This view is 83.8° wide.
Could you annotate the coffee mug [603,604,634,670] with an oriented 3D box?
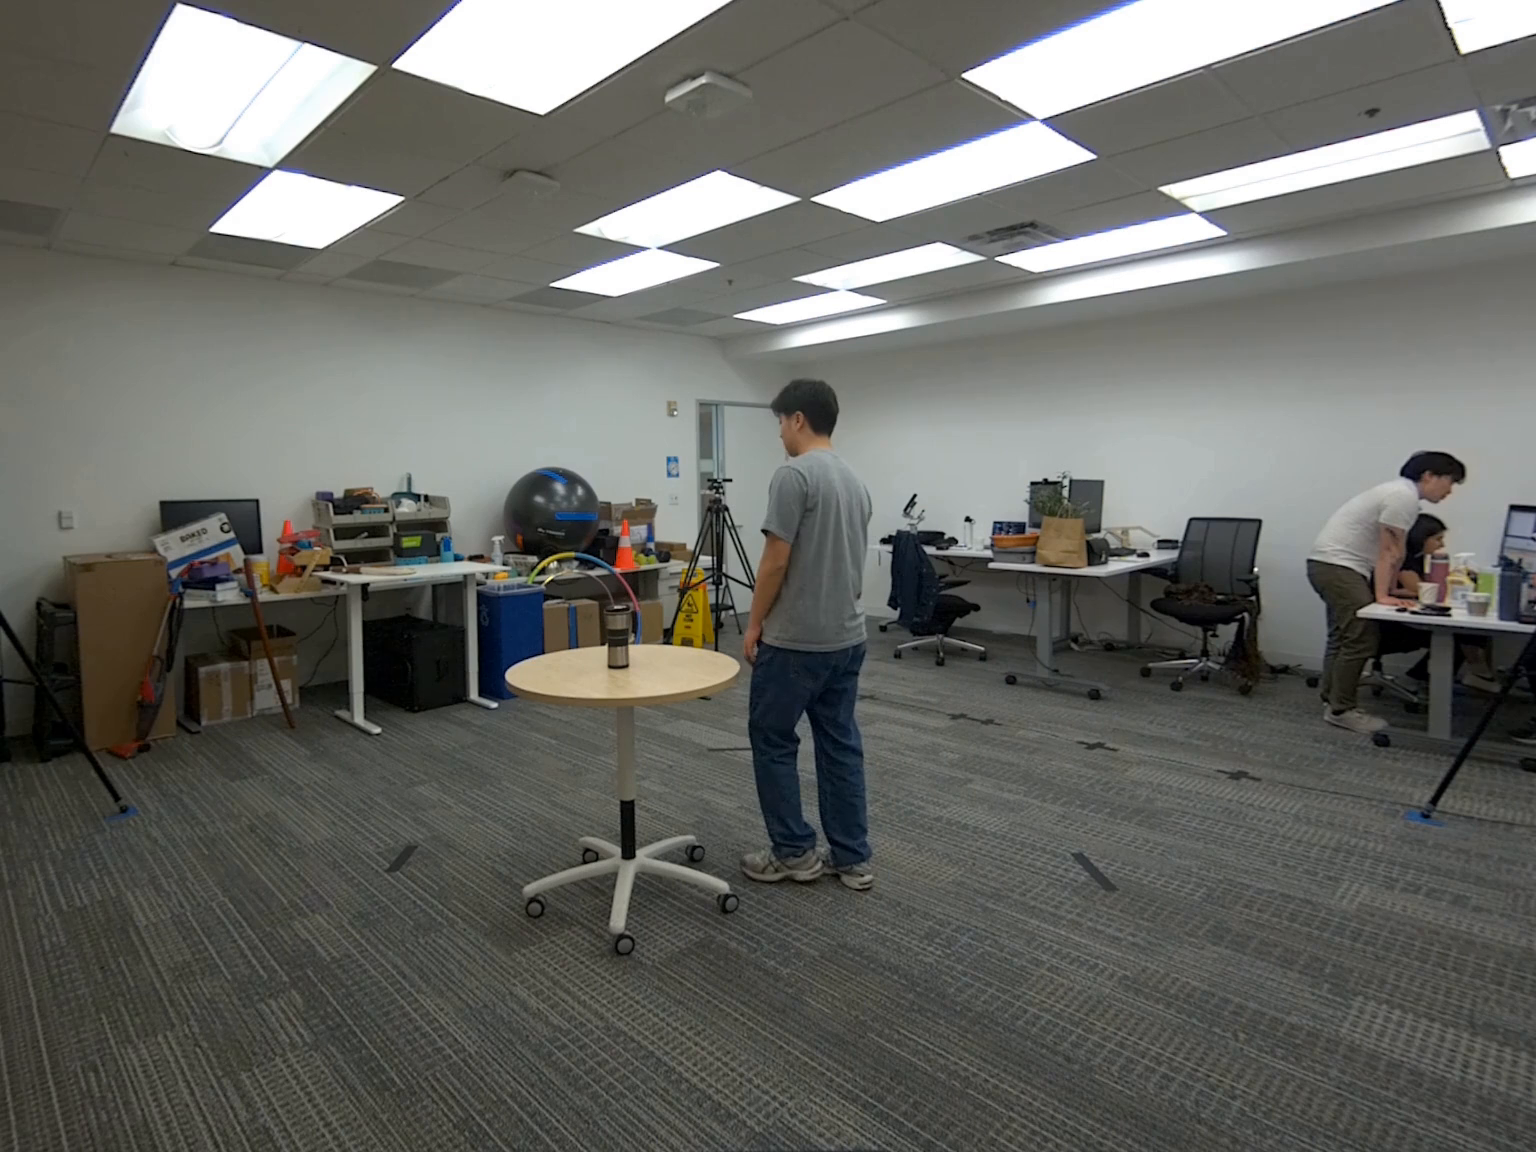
[{"bbox_3d":[-0.474,0.198,2.832,0.120,0.203,0.089,-6,1,-19],"label":"coffee mug"}]
